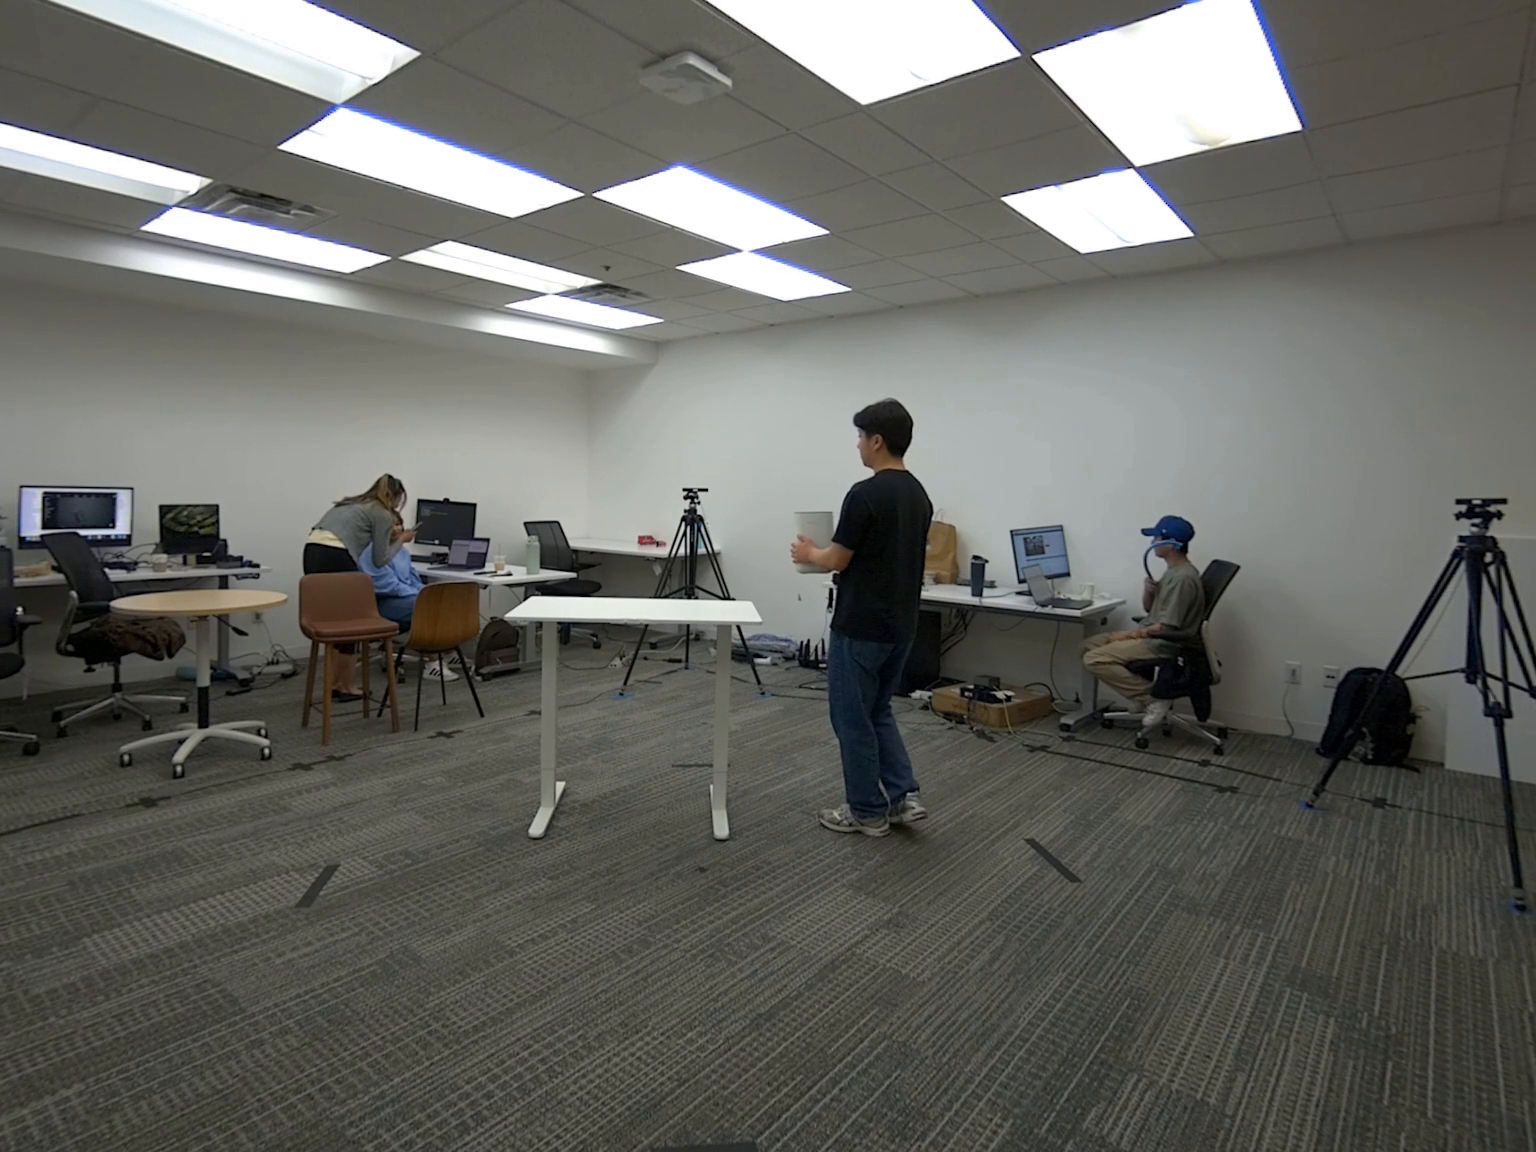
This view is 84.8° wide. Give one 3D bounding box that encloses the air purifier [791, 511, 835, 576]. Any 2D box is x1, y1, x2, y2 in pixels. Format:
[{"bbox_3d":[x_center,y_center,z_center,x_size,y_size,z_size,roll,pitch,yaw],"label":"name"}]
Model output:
[{"bbox_3d":[0.197,-0.149,3.688,0.171,0.265,0.172,-2,3,2],"label":"air purifier"}]
